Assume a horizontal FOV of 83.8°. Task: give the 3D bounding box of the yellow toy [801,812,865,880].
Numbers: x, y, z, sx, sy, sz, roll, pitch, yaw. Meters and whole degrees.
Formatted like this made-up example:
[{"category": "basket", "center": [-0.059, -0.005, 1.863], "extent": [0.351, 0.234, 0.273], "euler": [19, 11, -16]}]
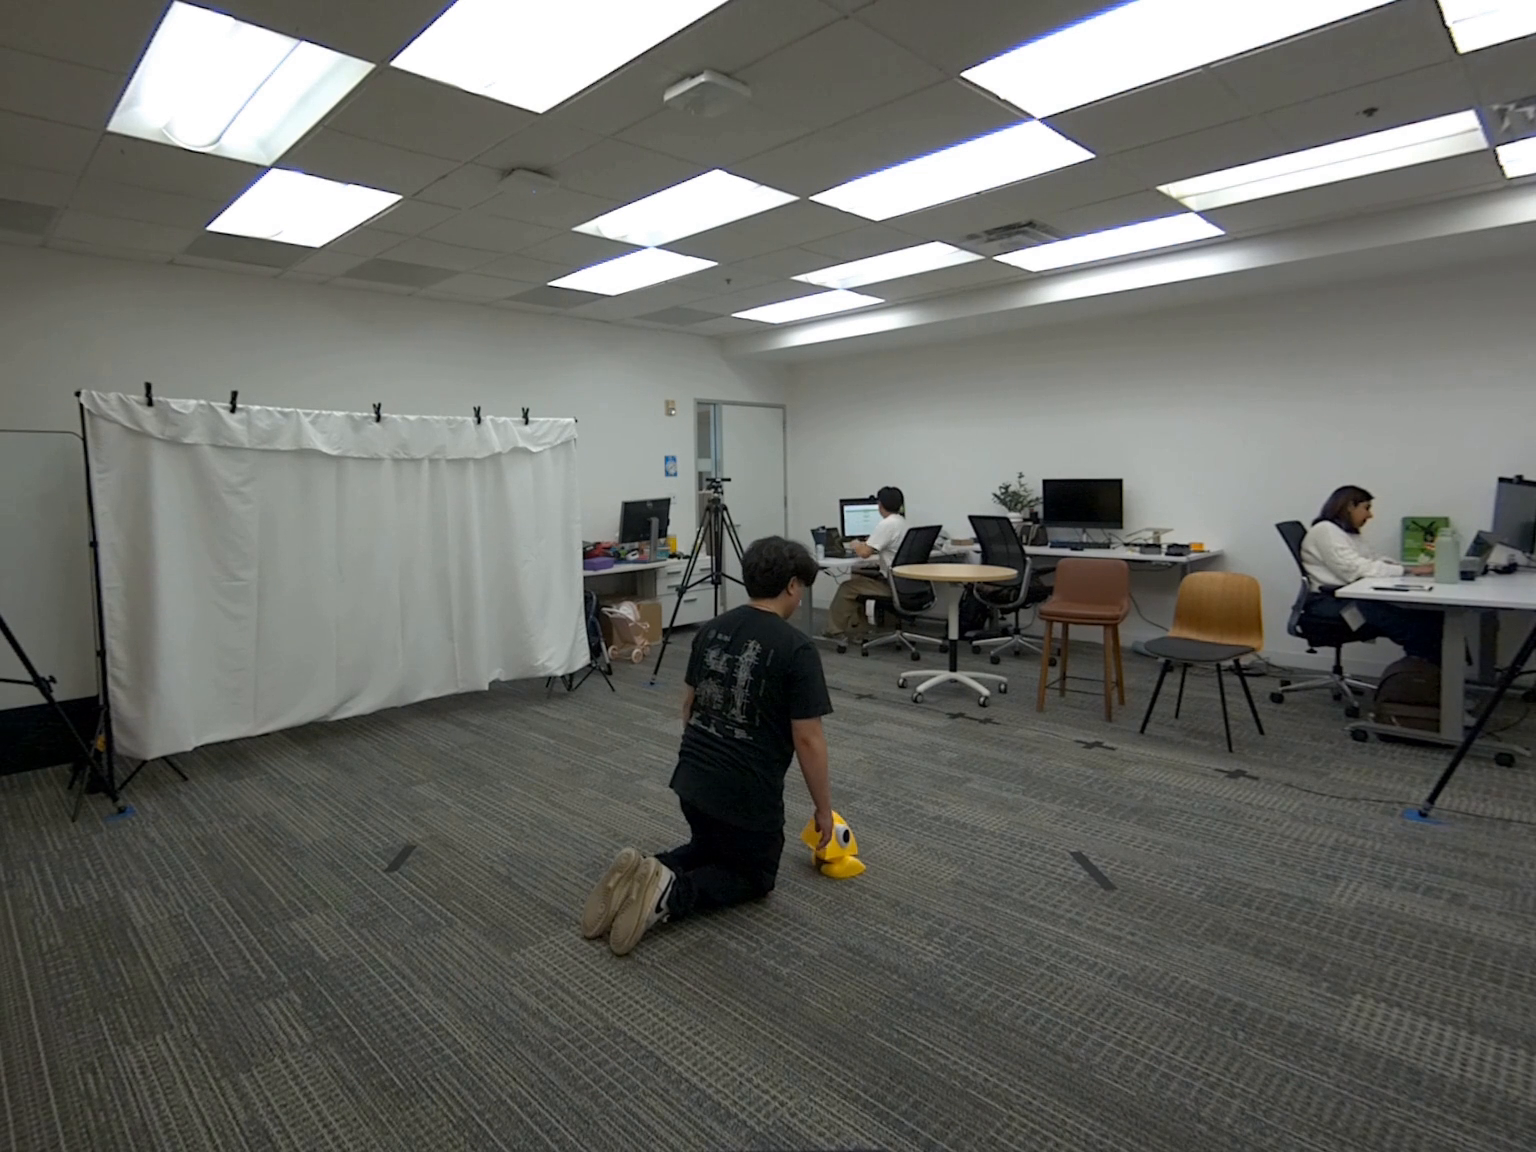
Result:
[{"category": "yellow toy", "center": [0.240, 0.929, 3.071], "extent": [0.189, 0.230, 0.209], "euler": [-2, 4, -23]}]
